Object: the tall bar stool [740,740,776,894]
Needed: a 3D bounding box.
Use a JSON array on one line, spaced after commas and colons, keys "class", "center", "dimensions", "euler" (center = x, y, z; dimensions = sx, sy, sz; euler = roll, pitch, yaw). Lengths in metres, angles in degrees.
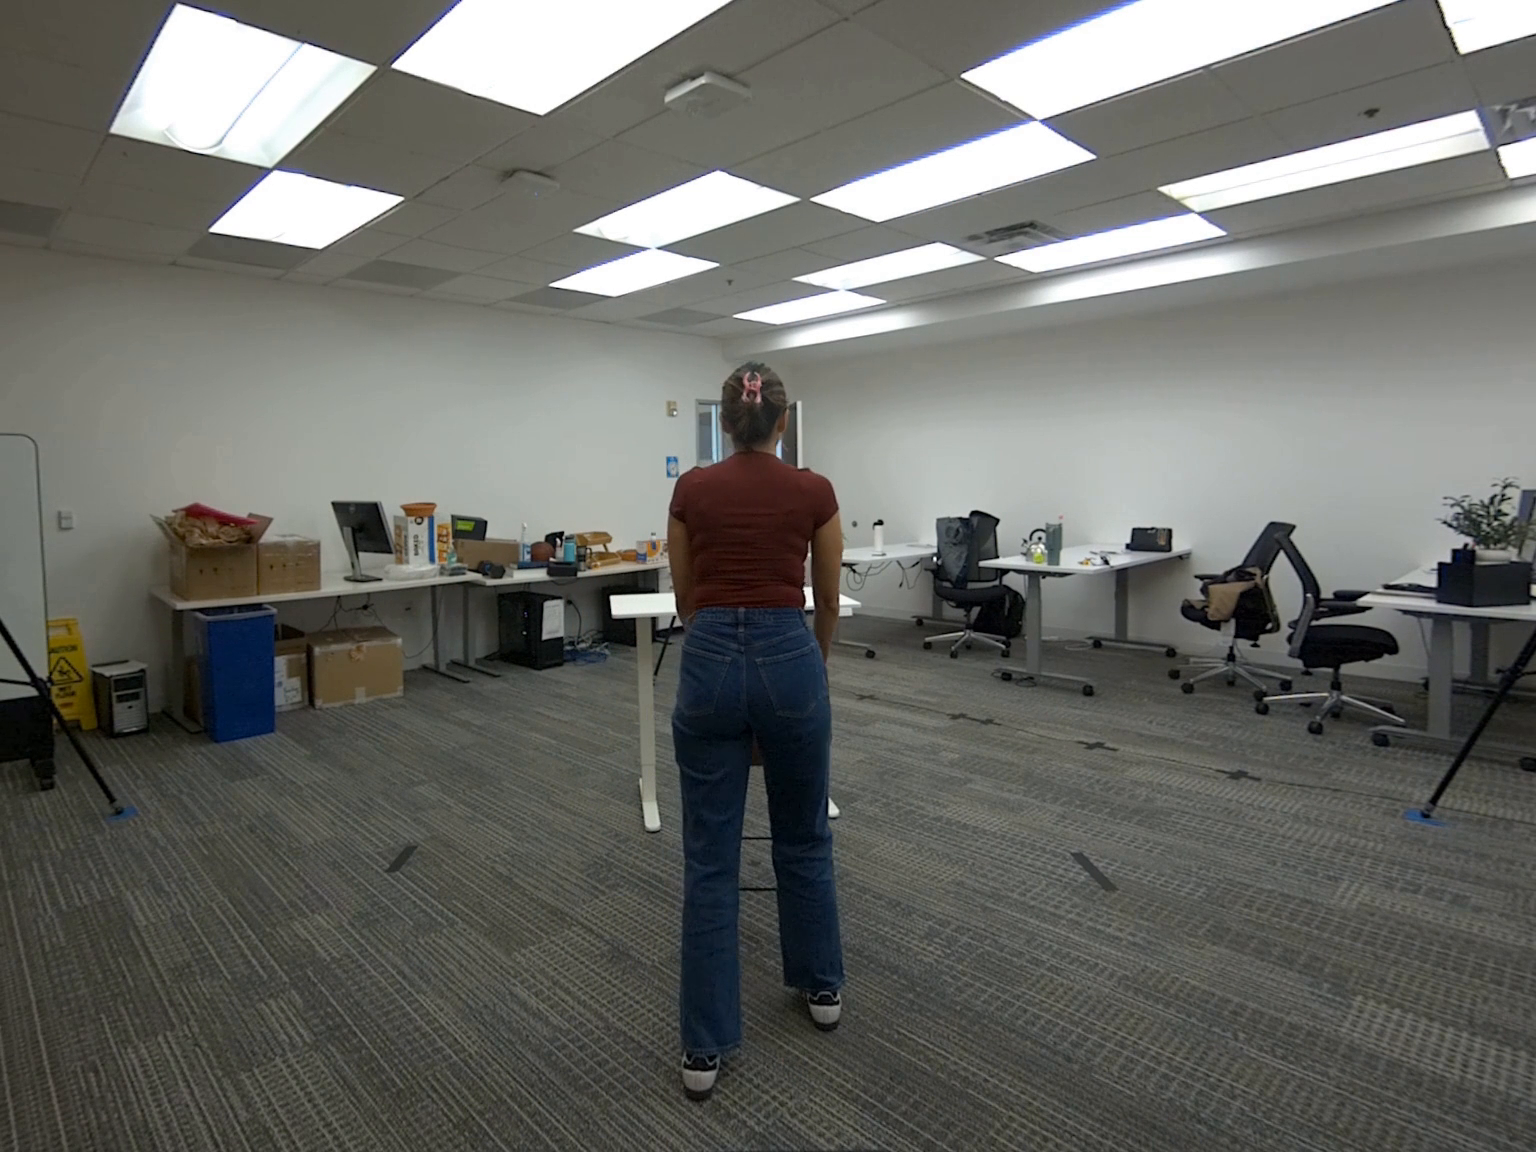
[{"class": "tall bar stool", "center": [-0.023, 0.647, 2.764], "dimensions": [0.457, 0.884, 0.470], "euler": [-1, 7, 1]}]
